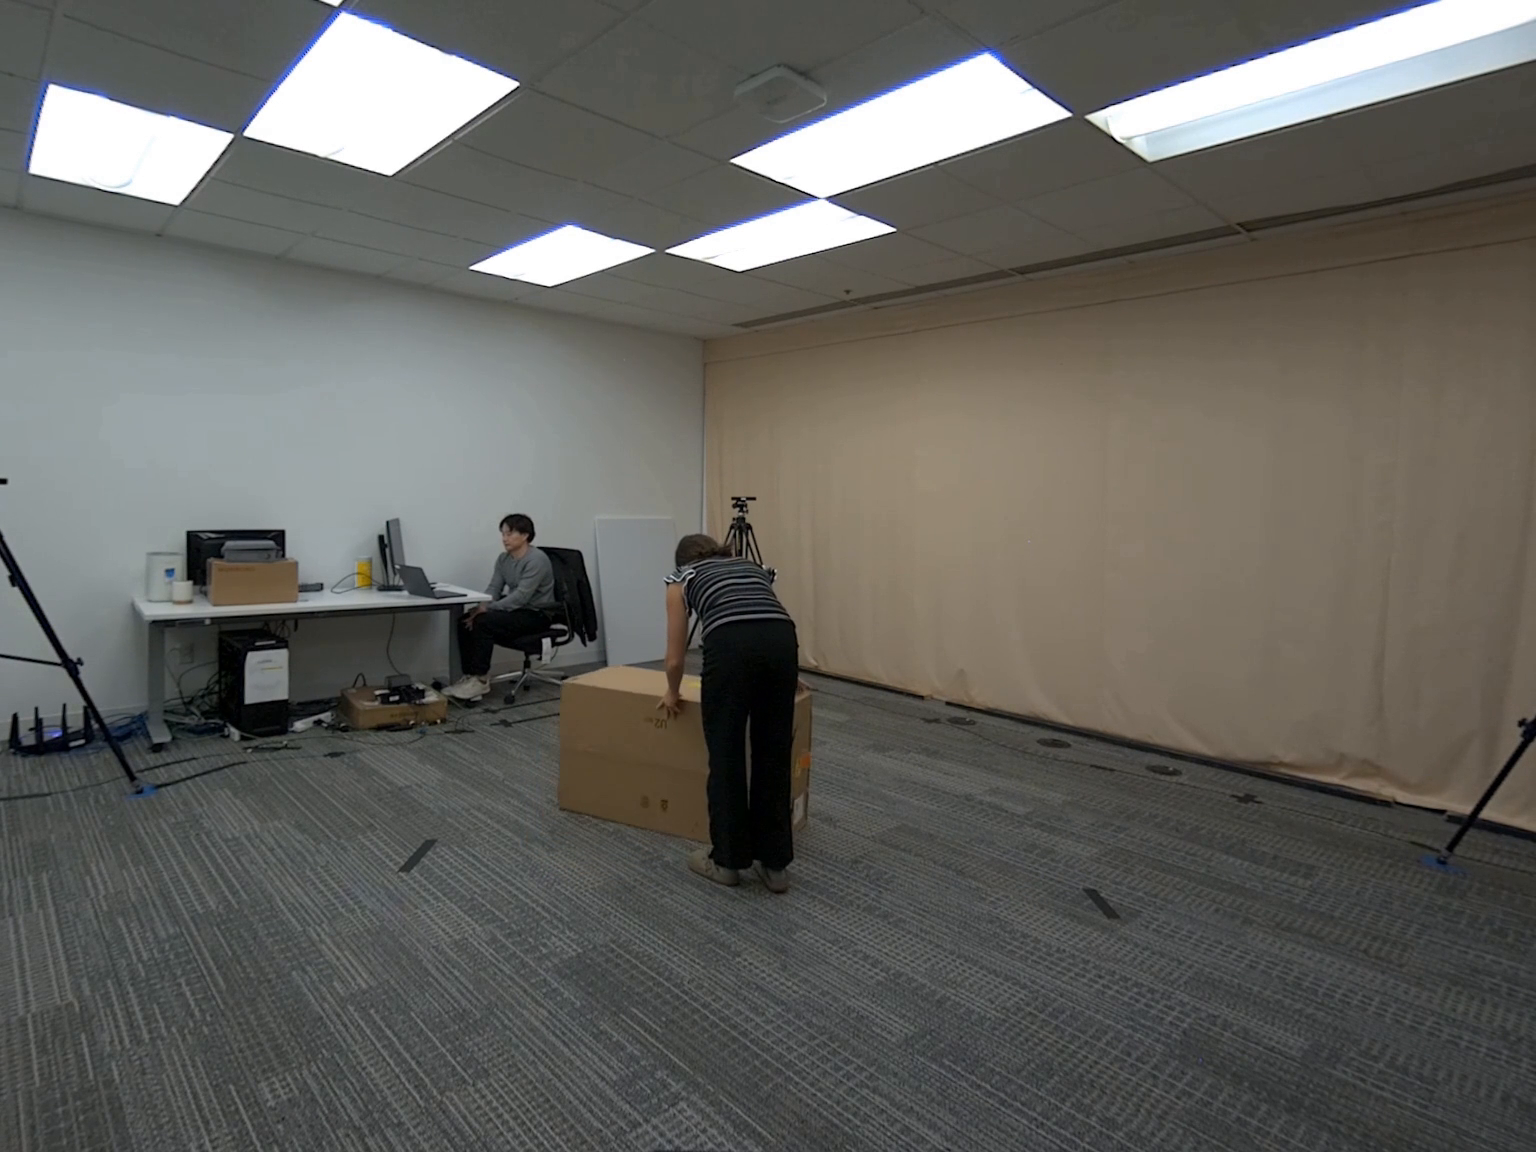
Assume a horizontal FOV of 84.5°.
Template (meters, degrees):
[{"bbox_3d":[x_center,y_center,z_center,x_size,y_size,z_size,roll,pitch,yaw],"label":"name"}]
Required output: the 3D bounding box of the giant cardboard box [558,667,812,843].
[{"bbox_3d":[-0.372,0.760,3.670,1.046,0.576,0.419,4,5,26],"label":"giant cardboard box"}]
